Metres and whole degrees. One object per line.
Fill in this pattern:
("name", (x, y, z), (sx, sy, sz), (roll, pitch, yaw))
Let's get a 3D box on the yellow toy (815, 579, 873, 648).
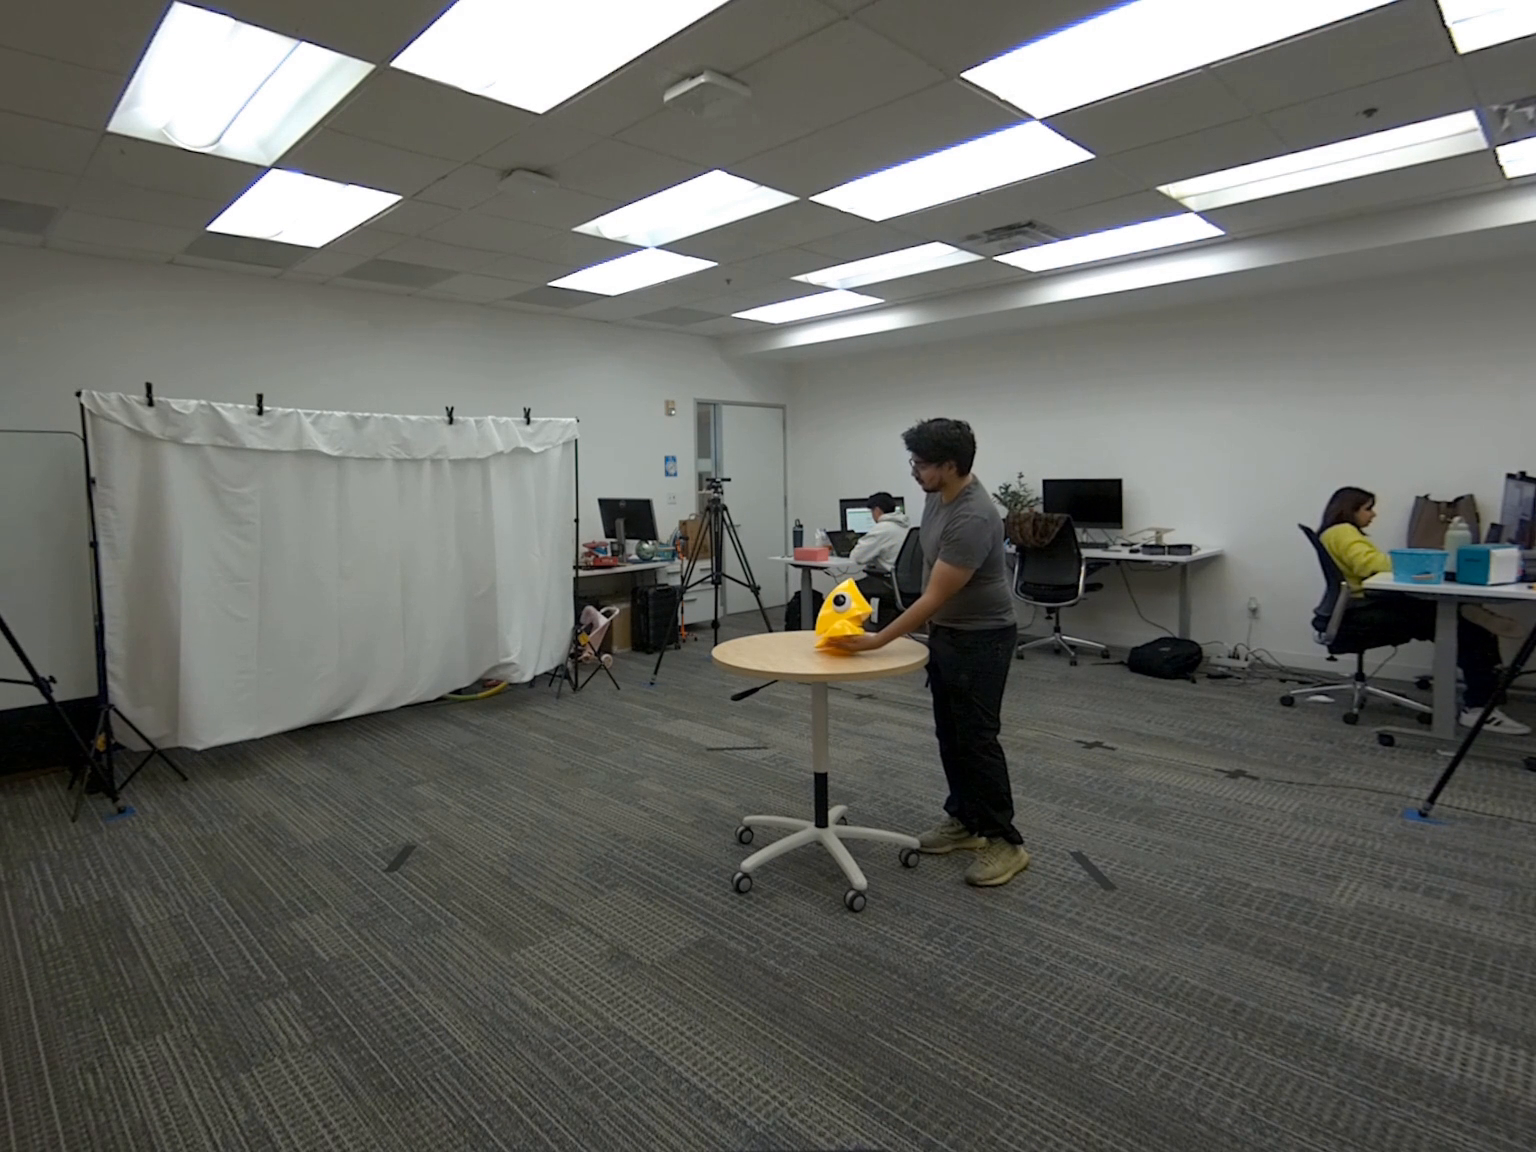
("yellow toy", (0.250, 0.121, 2.995), (0.191, 0.235, 0.203), (-2, -18, -11))
